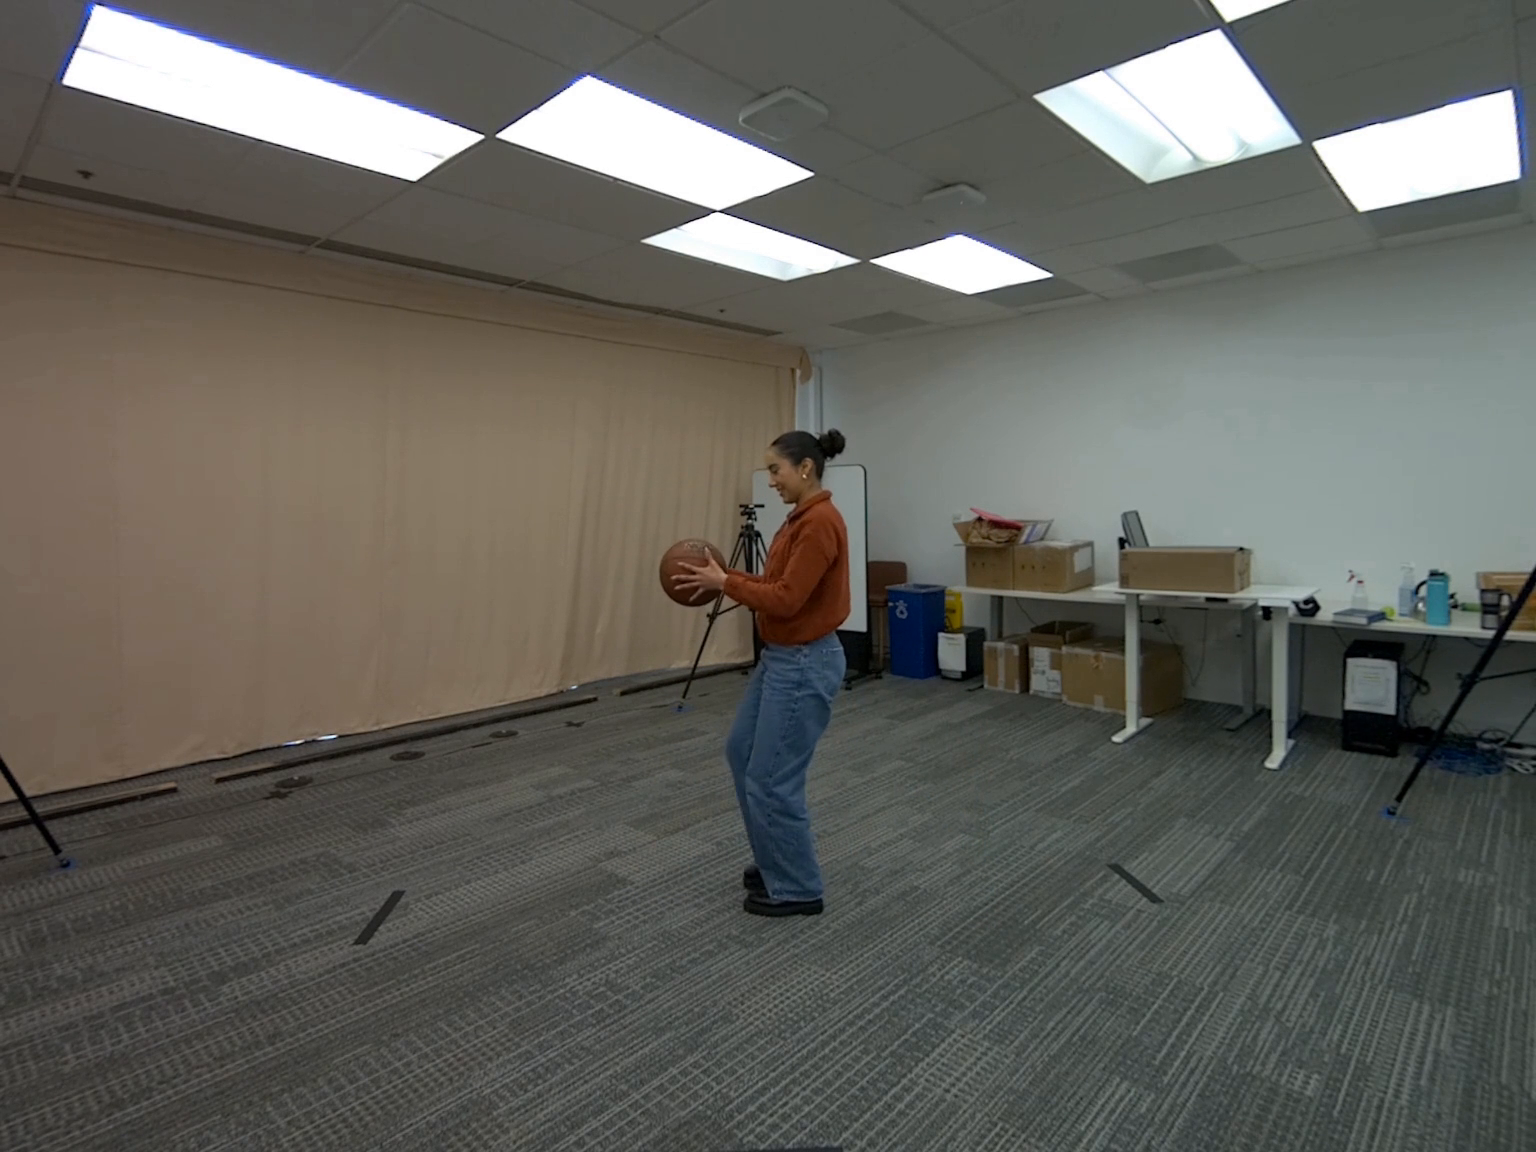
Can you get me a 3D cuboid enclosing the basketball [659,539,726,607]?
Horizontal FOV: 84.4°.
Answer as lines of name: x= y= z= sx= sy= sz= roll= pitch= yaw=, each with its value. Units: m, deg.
basketball: x=-0.254 y=0.016 z=2.916 sx=0.236 sy=0.235 sz=0.237 roll=-1 pitch=4 yaw=-2
